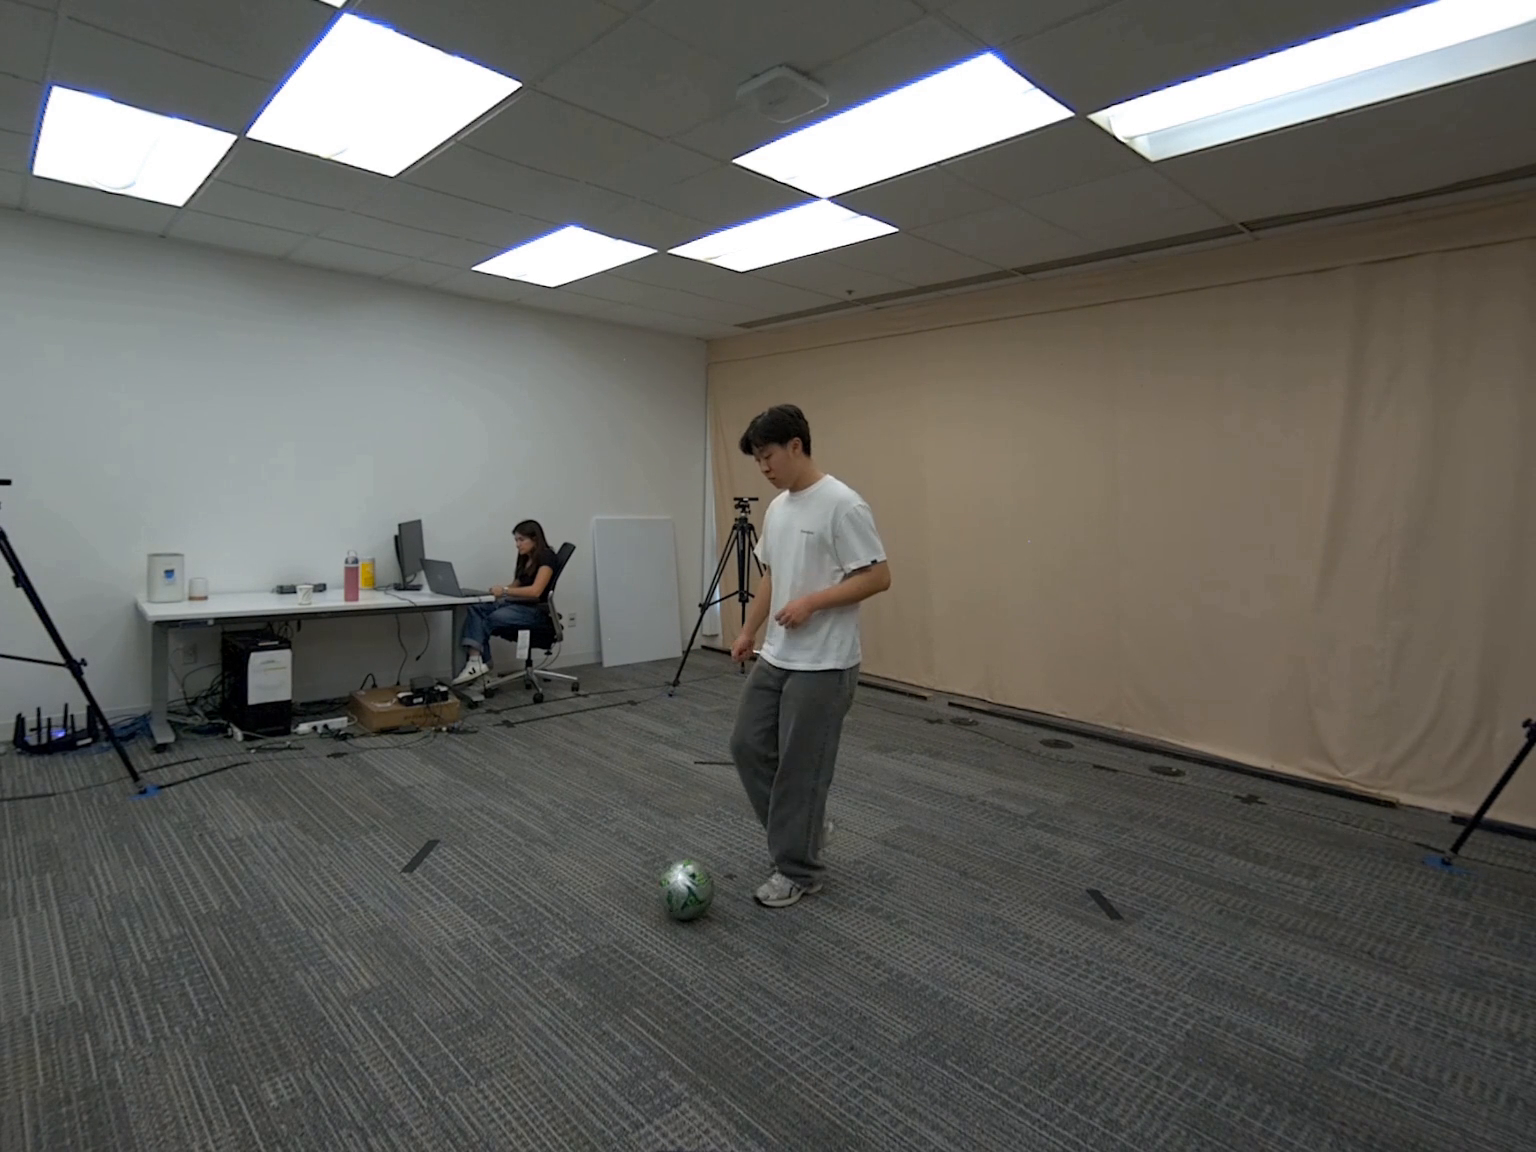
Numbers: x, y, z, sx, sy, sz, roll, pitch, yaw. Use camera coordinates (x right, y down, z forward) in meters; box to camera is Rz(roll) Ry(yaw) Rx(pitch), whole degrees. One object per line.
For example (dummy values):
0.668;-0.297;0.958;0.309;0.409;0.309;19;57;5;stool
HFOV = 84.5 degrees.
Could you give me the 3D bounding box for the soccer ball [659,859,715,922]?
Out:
-0.277;1.040;2.788;0.187;0.187;0.188;1;4;-1;soccer ball
